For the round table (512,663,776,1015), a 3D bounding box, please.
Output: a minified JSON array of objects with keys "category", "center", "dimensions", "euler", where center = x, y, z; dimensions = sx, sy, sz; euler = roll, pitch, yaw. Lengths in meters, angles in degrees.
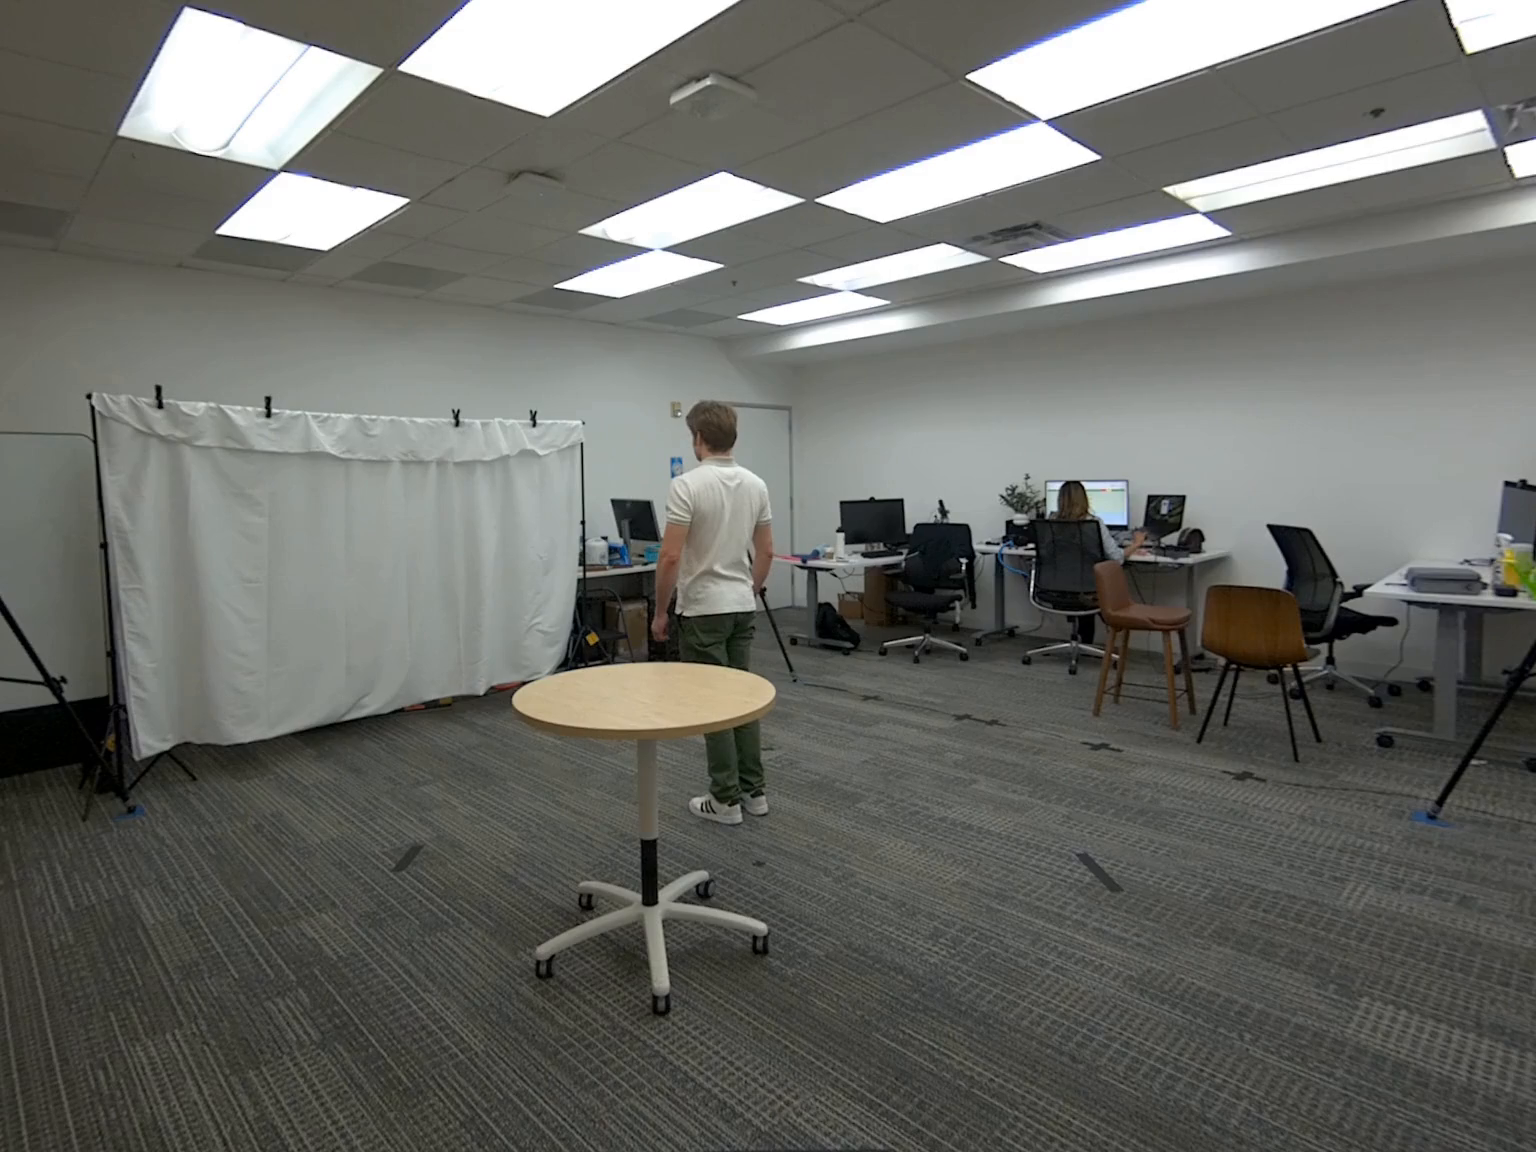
[{"category":"round table","center":[-0.360,0.734,2.545],"dimensions":[0.763,0.791,0.768],"euler":[-1,5,-2]}]
